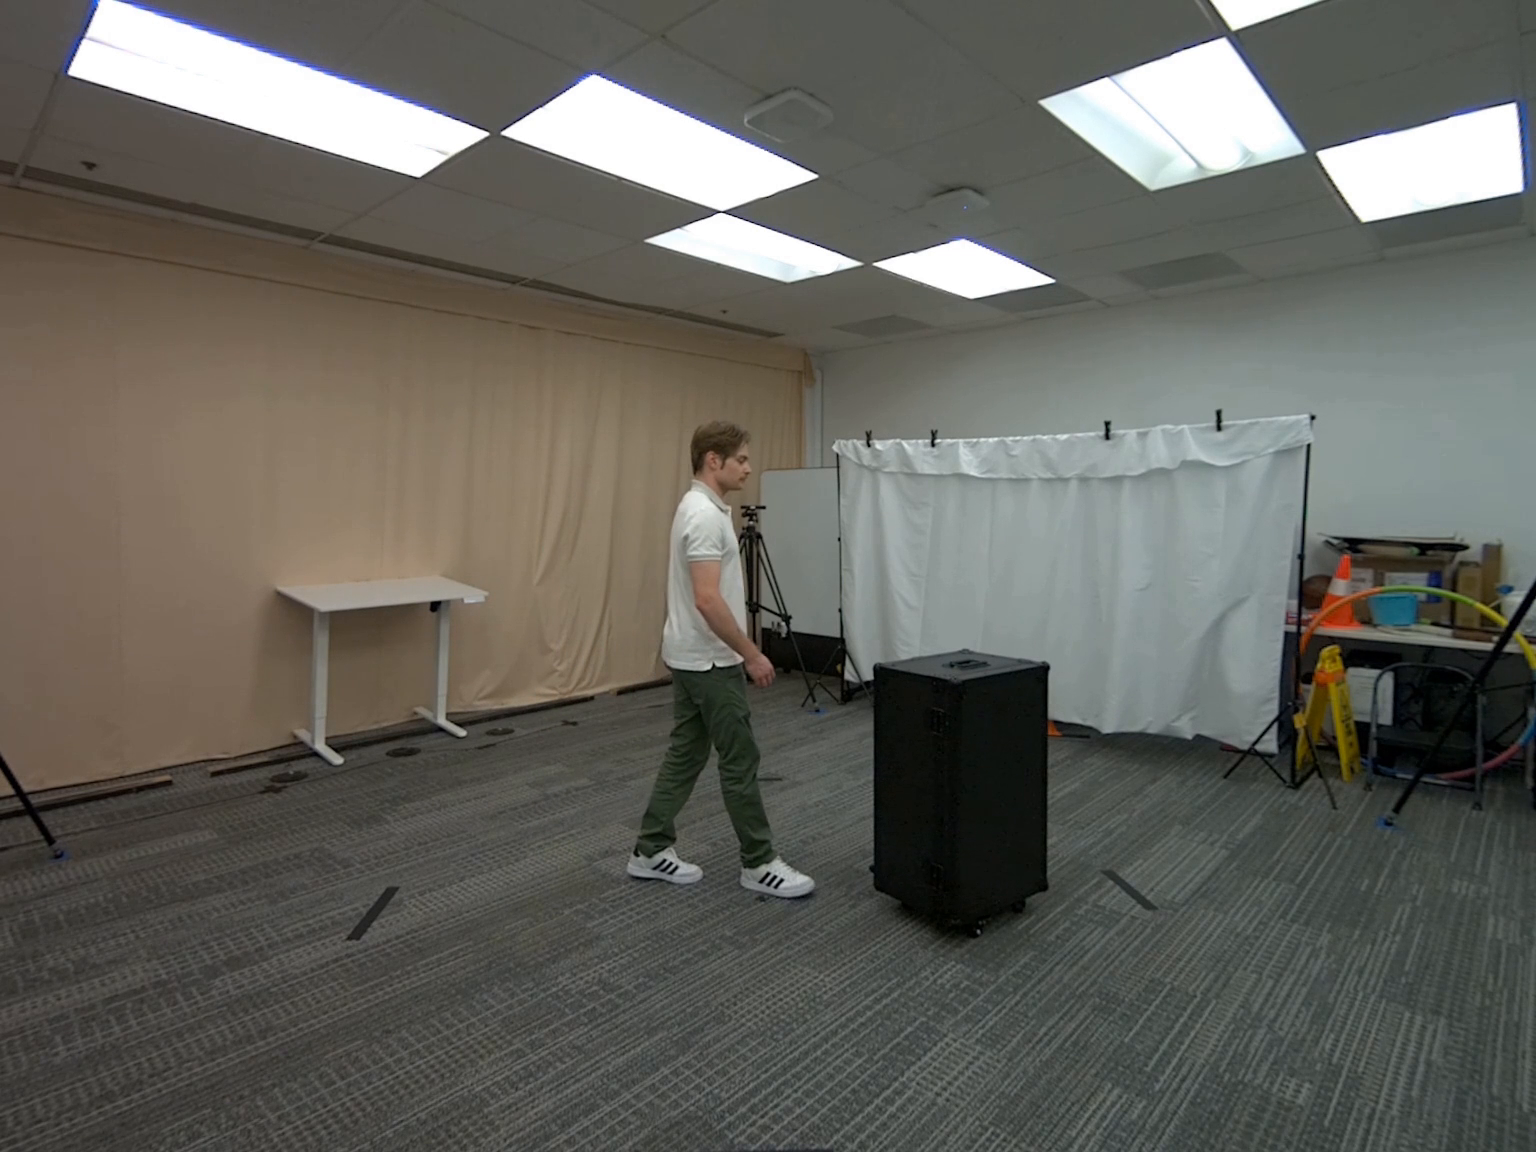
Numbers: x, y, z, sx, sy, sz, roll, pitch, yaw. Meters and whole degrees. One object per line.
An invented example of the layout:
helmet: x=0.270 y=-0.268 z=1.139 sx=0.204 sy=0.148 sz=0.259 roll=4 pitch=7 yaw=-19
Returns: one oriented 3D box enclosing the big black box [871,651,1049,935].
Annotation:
big black box: x=0.663 y=0.729 z=2.874 sx=0.508 sy=0.867 sz=0.397 roll=-3 pitch=3 yaw=-36
